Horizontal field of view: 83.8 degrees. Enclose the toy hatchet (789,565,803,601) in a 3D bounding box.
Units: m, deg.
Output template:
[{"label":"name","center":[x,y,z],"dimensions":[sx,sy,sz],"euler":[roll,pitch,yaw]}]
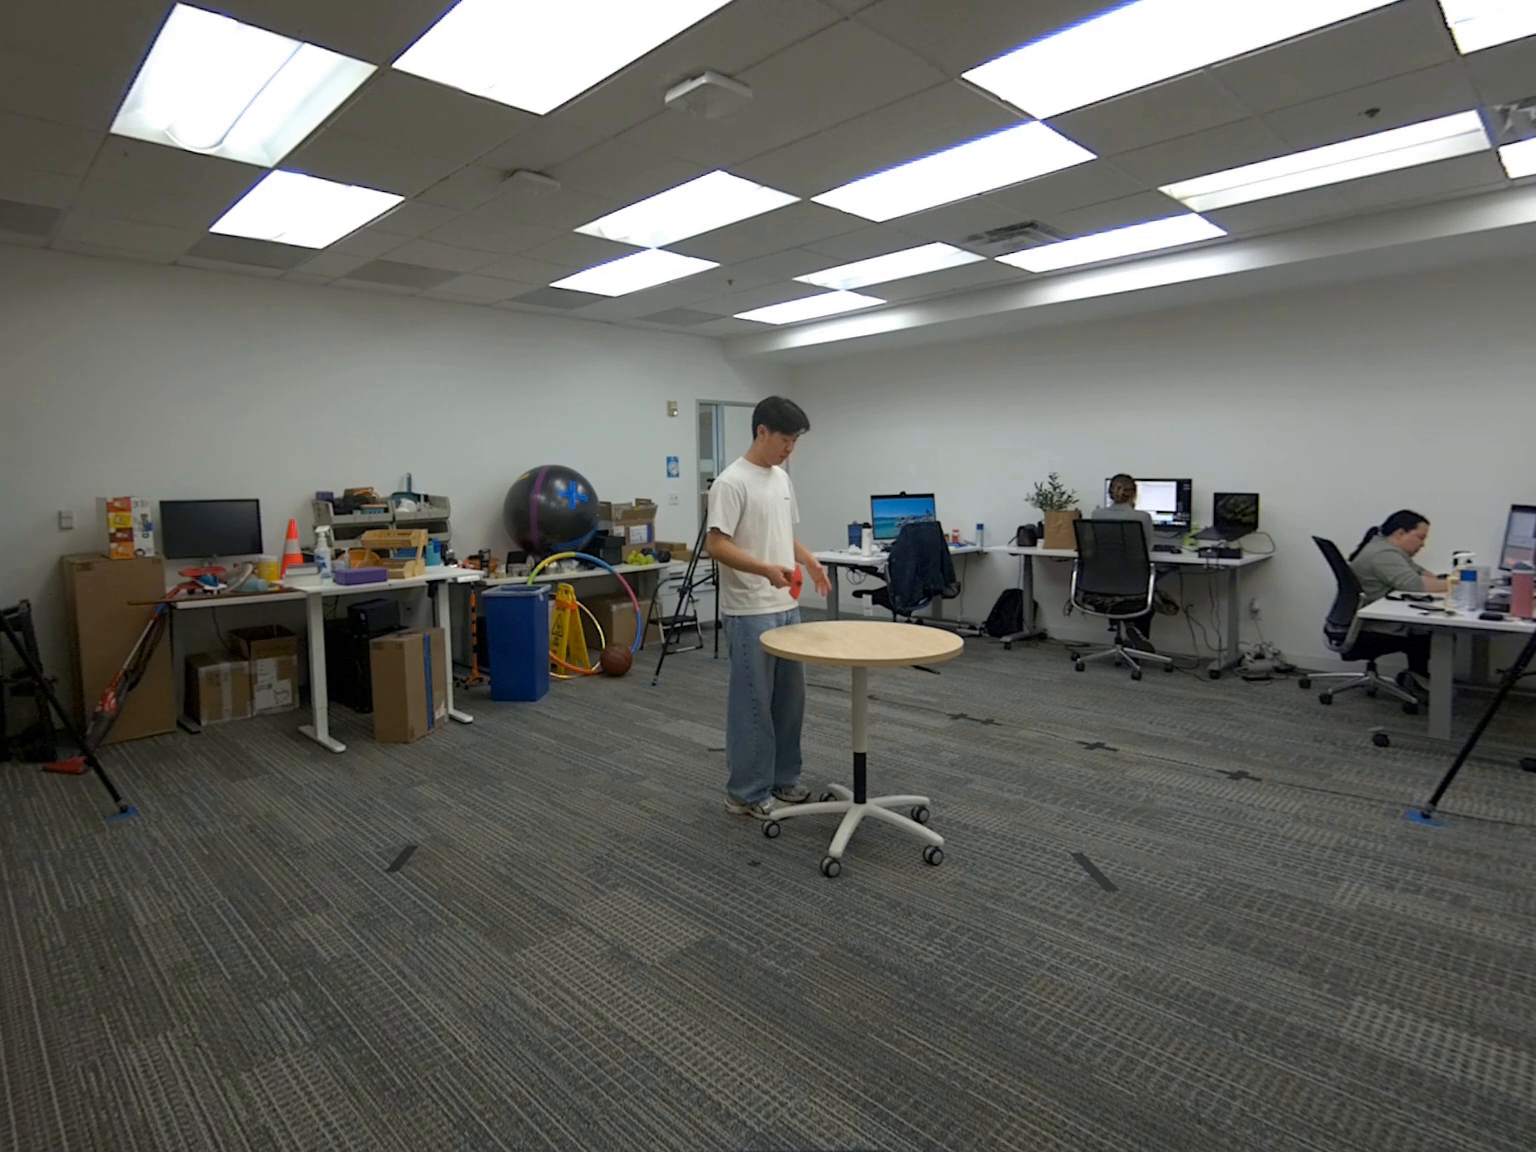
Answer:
[{"label":"toy hatchet","center":[0.092,0.025,3.300],"dimensions":[0.029,0.132,0.269],"euler":[2,-11,-9]}]
